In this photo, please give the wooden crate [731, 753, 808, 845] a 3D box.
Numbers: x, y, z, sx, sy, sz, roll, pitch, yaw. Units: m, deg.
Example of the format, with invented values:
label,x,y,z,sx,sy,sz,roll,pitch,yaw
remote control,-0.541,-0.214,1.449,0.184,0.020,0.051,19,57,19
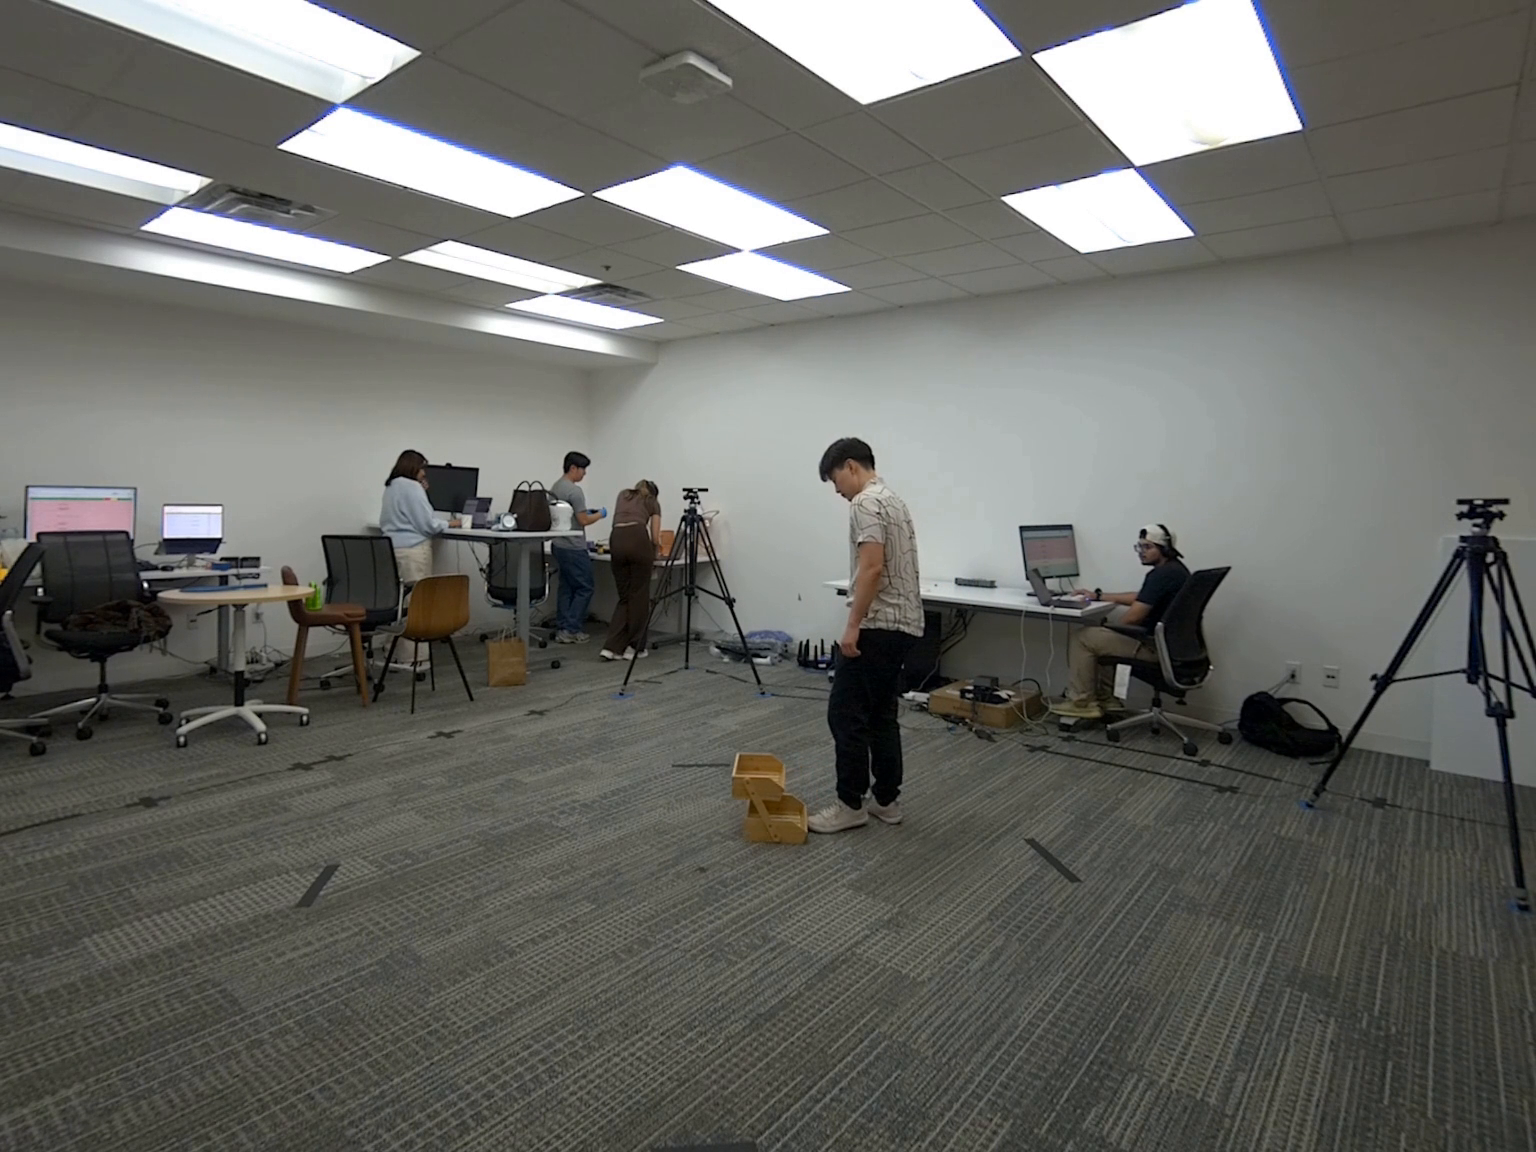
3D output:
label,x,y,z,sx,sy,sz,roll,pitch,yaw
wooden crate,0.012,0.902,3.504,0.304,0.272,0.324,1,5,4
